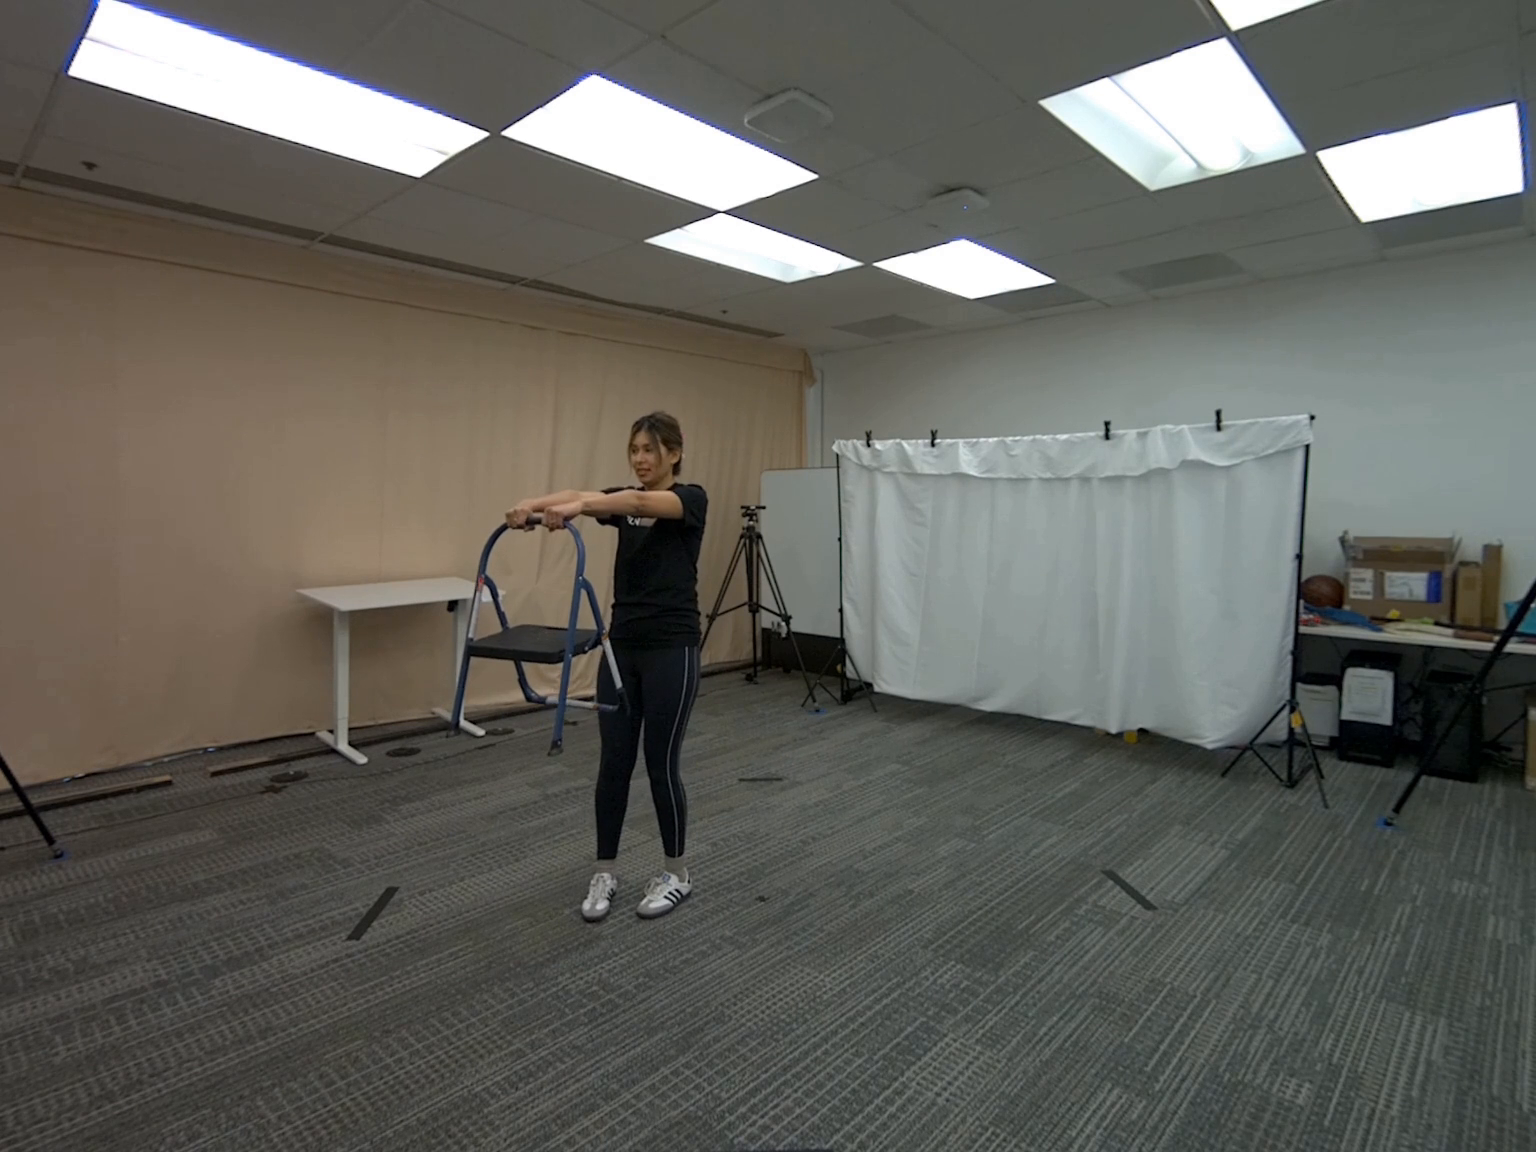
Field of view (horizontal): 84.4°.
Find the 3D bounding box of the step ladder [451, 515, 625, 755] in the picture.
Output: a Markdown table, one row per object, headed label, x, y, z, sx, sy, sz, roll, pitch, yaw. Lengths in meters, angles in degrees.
| label | x | y | z | sx | sy | sz | roll | pitch | yaw |
| --- | --- | --- | --- | --- | --- | --- | --- | --- | --- |
| step ladder | -0.692 | 0.144 | 2.436 | 0.443 | 0.602 | 0.341 | 2 | 10 | 30 |
